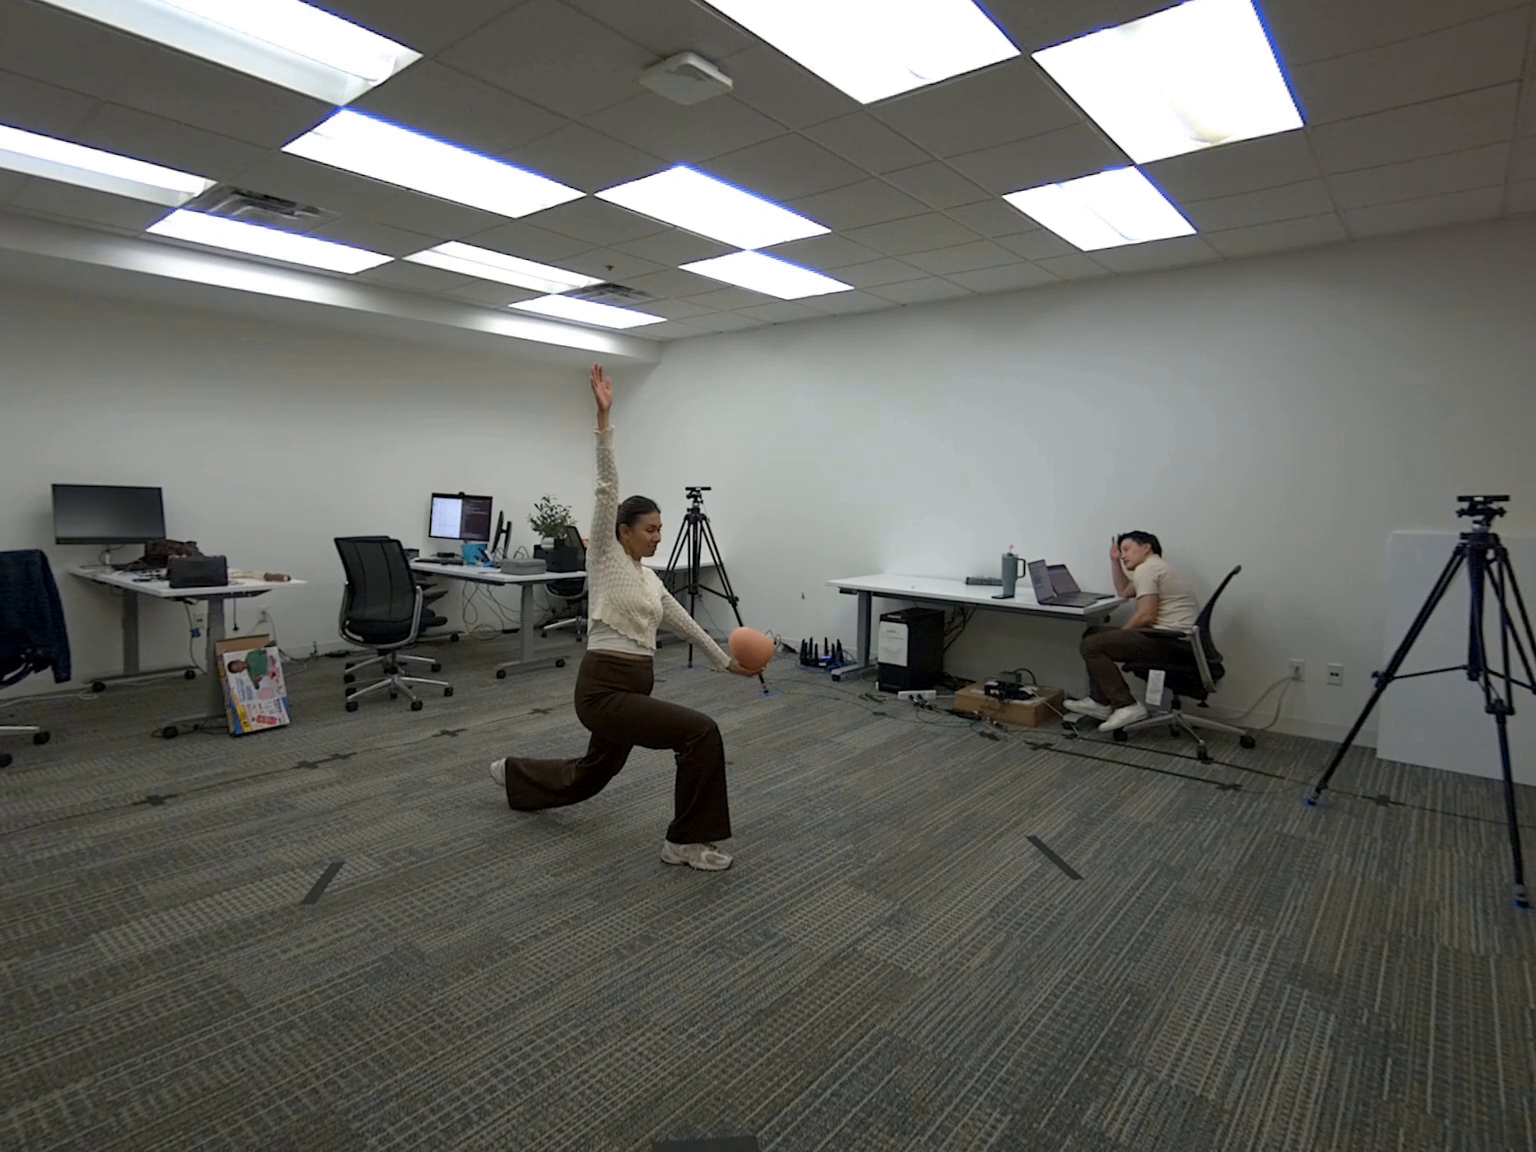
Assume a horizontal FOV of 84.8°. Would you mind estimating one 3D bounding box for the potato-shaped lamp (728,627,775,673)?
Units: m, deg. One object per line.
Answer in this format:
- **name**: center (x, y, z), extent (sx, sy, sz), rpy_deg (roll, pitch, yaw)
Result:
- **potato-shaped lamp**: center (-0.092, 0.307, 3.676), extent (0.196, 0.164, 0.173), rpy_deg (39, 14, -8)
